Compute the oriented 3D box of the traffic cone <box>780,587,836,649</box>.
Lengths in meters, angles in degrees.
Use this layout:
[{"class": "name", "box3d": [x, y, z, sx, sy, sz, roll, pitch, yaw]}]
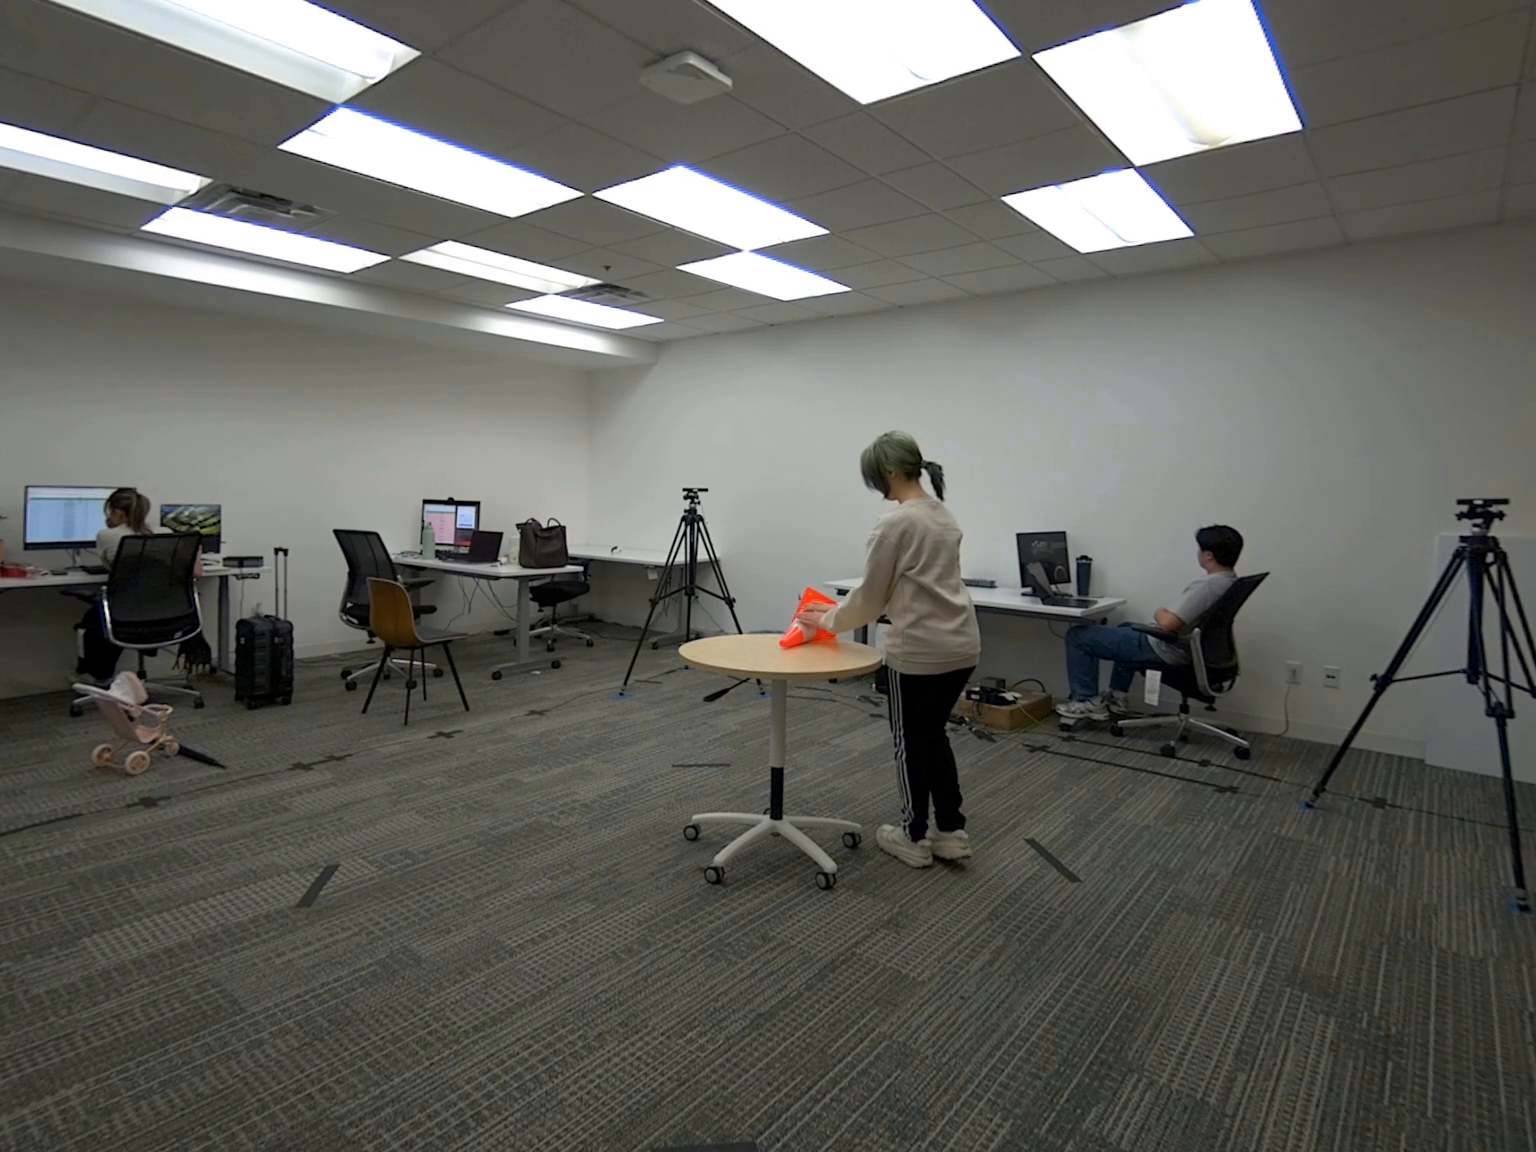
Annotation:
[{"class": "traffic cone", "box3d": [0.127, 0.213, 3.417, 0.210, 0.201, 0.378, 32, 25, 15]}]
